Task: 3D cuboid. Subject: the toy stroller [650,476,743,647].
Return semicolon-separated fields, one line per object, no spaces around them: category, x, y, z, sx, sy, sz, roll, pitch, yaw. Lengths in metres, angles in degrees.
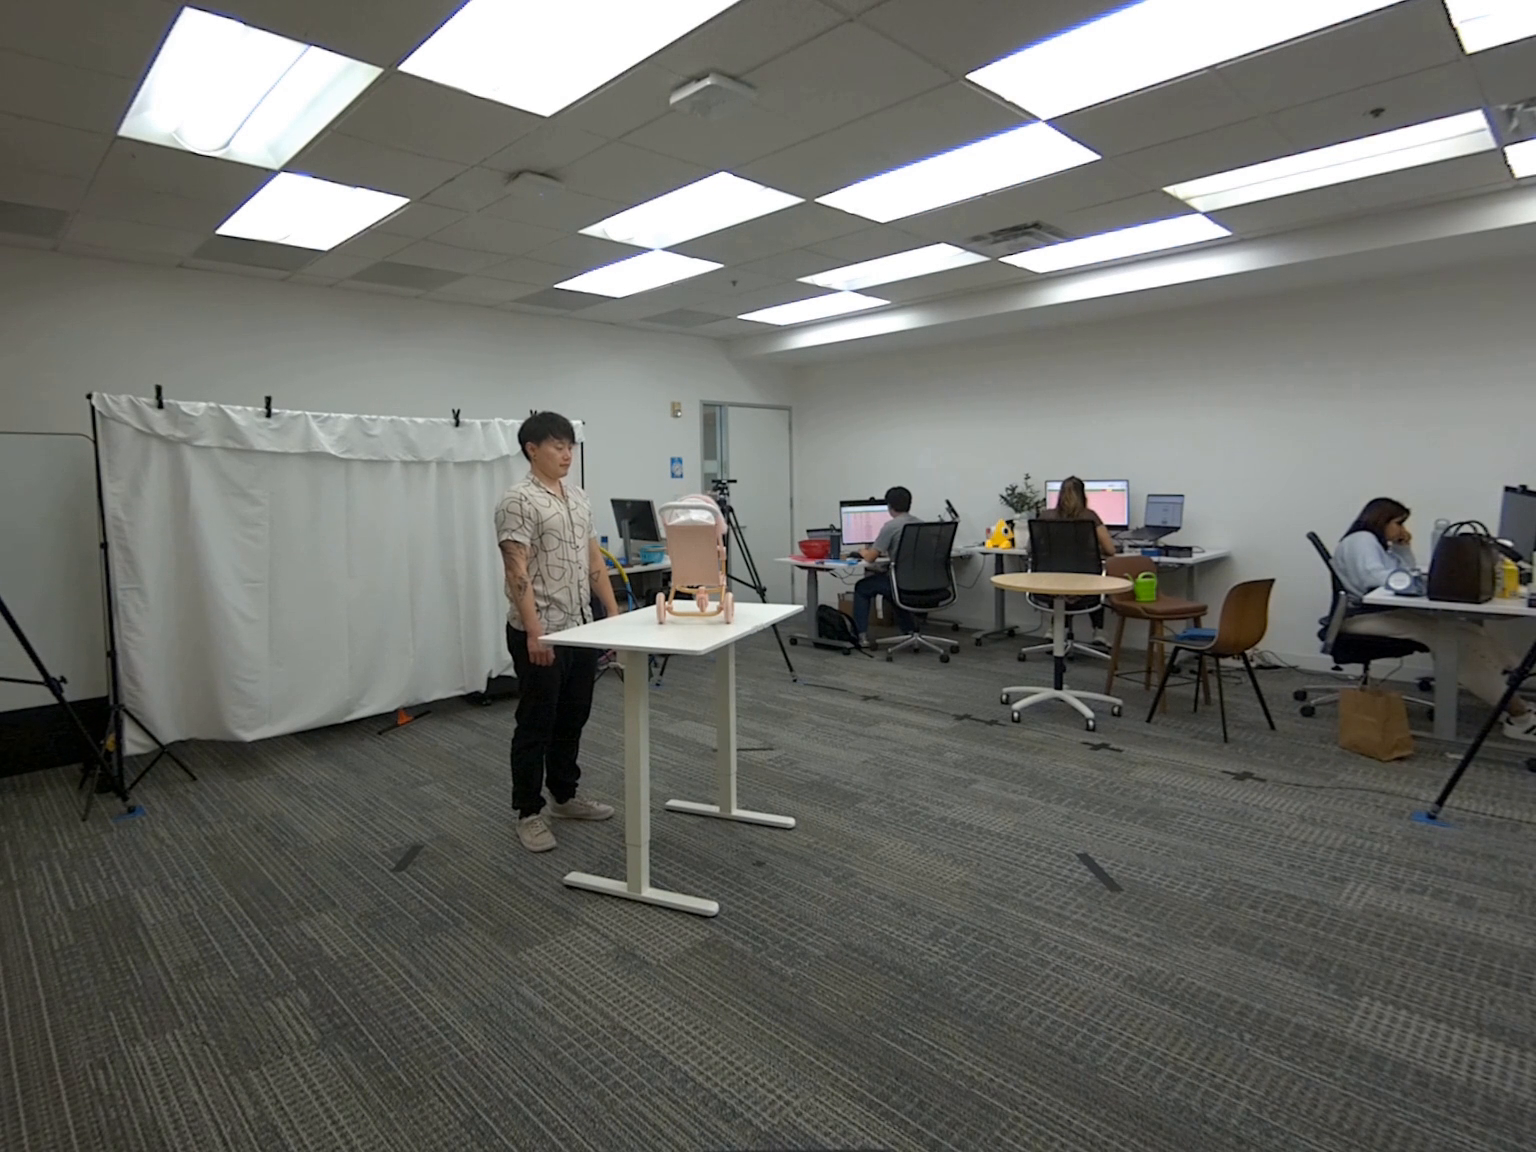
toy stroller;-0.253;-0.065;3.155;0.283;0.526;0.345;1;20;4
